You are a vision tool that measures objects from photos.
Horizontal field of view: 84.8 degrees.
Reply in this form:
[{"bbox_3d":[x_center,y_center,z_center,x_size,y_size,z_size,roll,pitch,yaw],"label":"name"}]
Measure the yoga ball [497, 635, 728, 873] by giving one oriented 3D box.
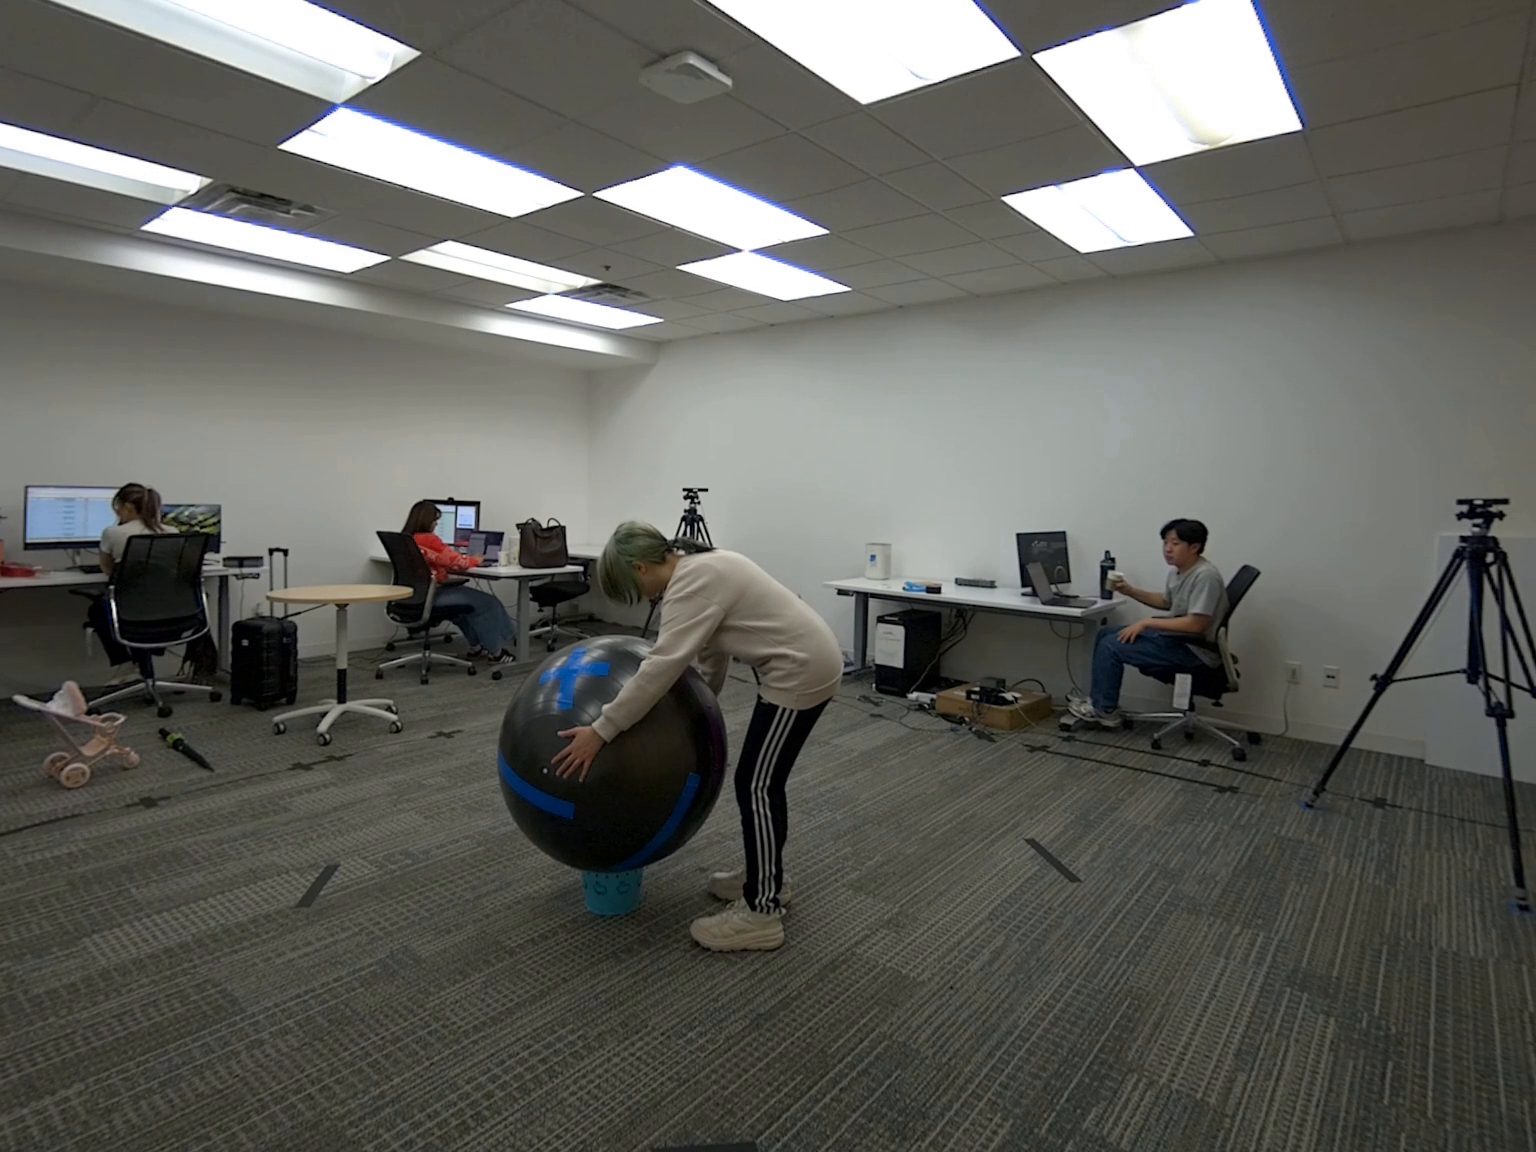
[{"bbox_3d":[-0.522,0.582,2.823,0.757,0.756,0.761,1,4,-2],"label":"yoga ball"}]
